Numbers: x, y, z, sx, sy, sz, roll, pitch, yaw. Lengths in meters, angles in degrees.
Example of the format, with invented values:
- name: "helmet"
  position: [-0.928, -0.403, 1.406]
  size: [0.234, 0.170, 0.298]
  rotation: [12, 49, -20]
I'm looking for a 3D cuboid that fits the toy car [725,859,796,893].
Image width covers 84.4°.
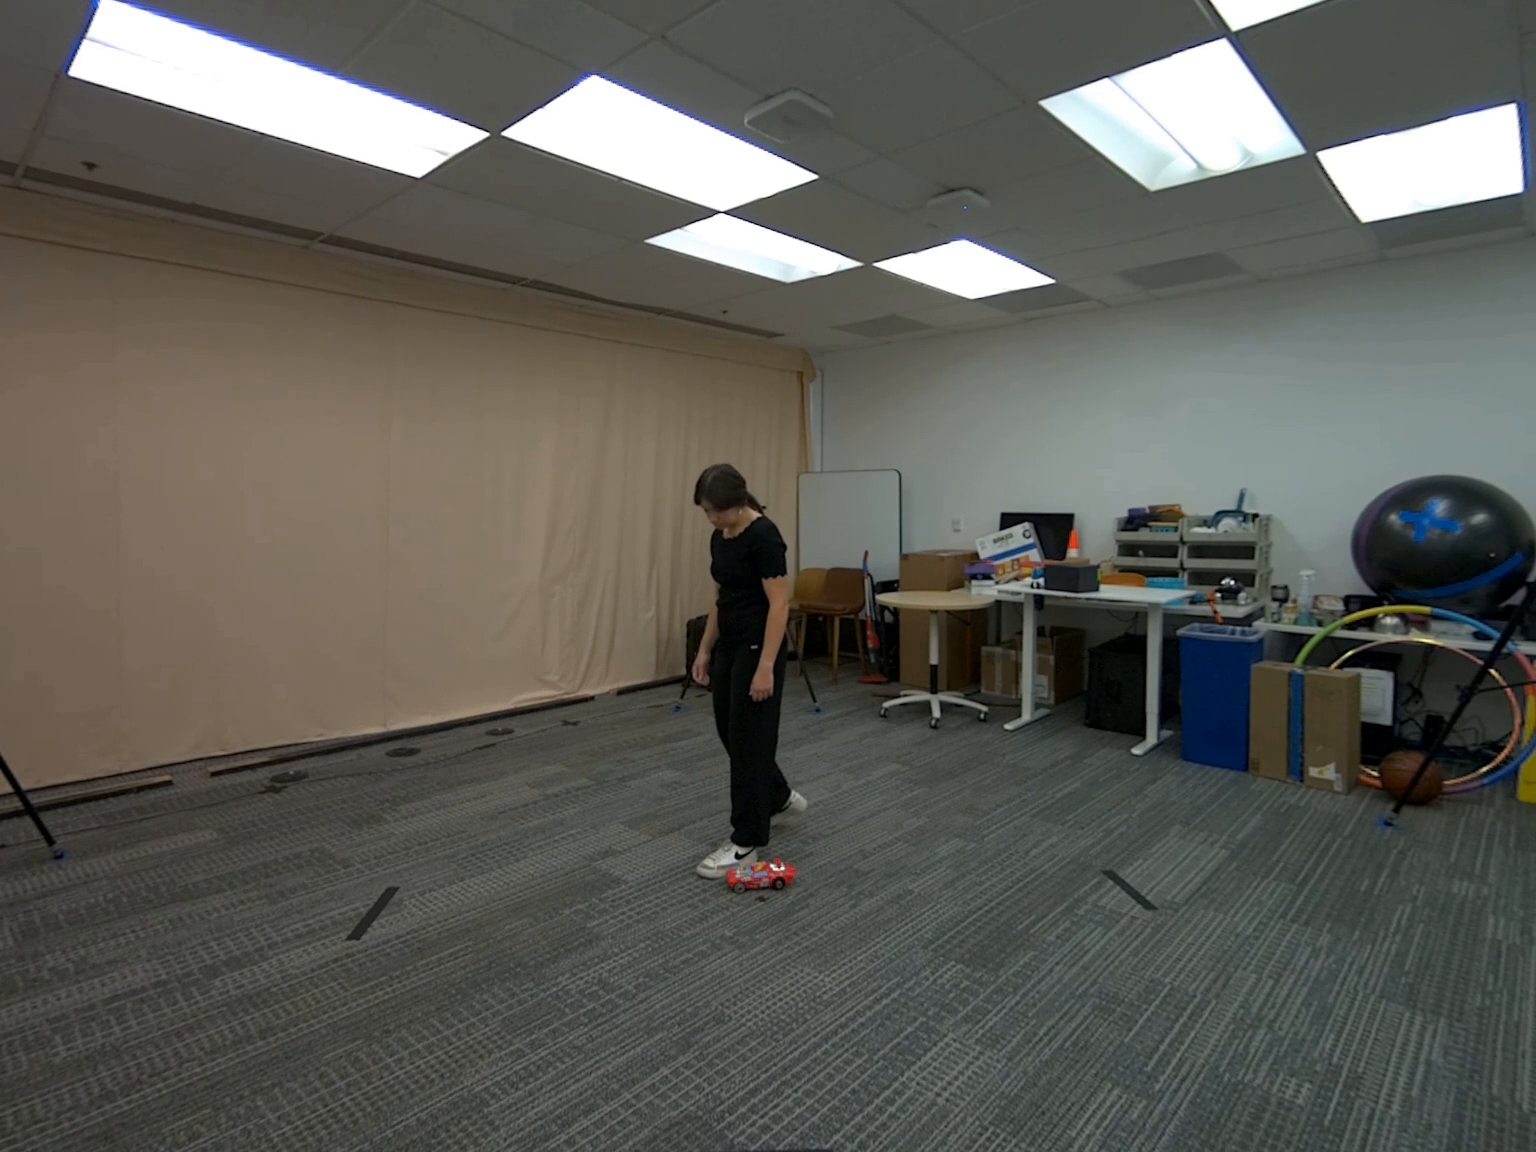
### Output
- name: "toy car"
  position: [-0.023, 1.098, 3.093]
  size: [0.253, 0.083, 0.132]
  rotation: [-13, 8, -8]
